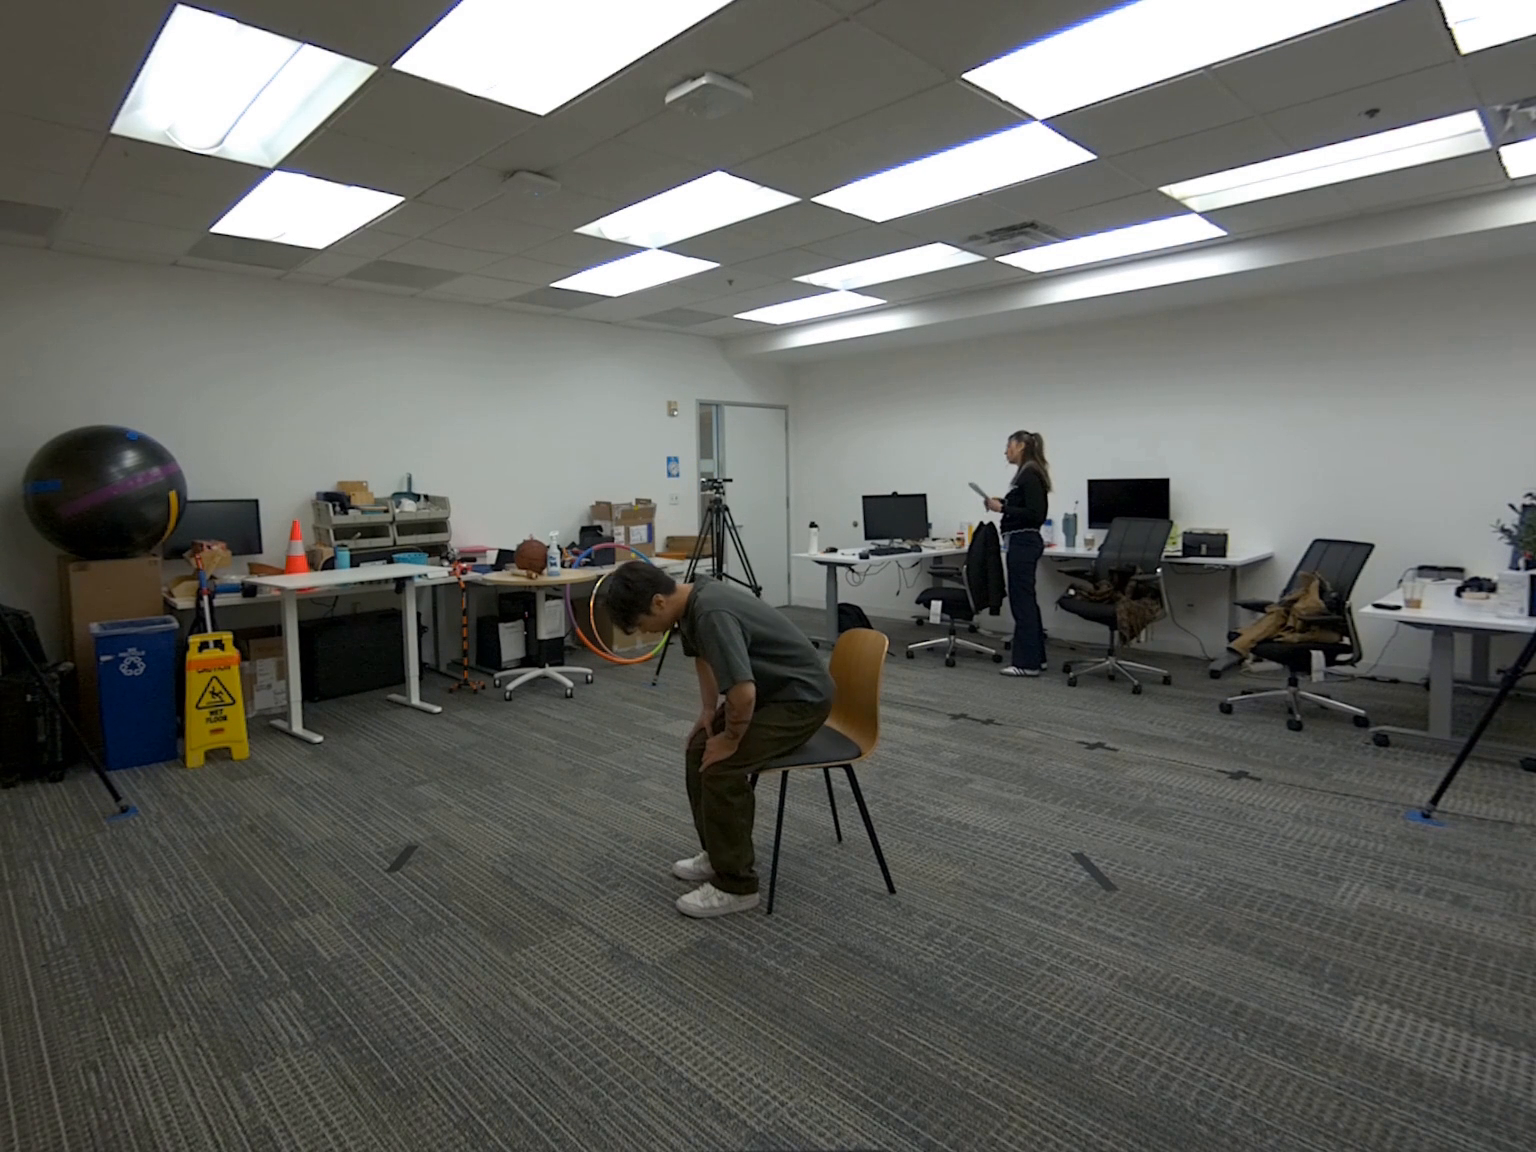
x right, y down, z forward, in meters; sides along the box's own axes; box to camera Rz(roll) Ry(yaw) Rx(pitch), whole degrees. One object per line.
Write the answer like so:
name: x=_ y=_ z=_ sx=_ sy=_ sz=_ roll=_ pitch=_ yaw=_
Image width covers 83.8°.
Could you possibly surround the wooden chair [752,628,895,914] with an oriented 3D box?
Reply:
wooden chair: x=0.131 y=0.629 z=2.980 sx=0.515 sy=0.875 sz=0.487 roll=1 pitch=4 yaw=-17
